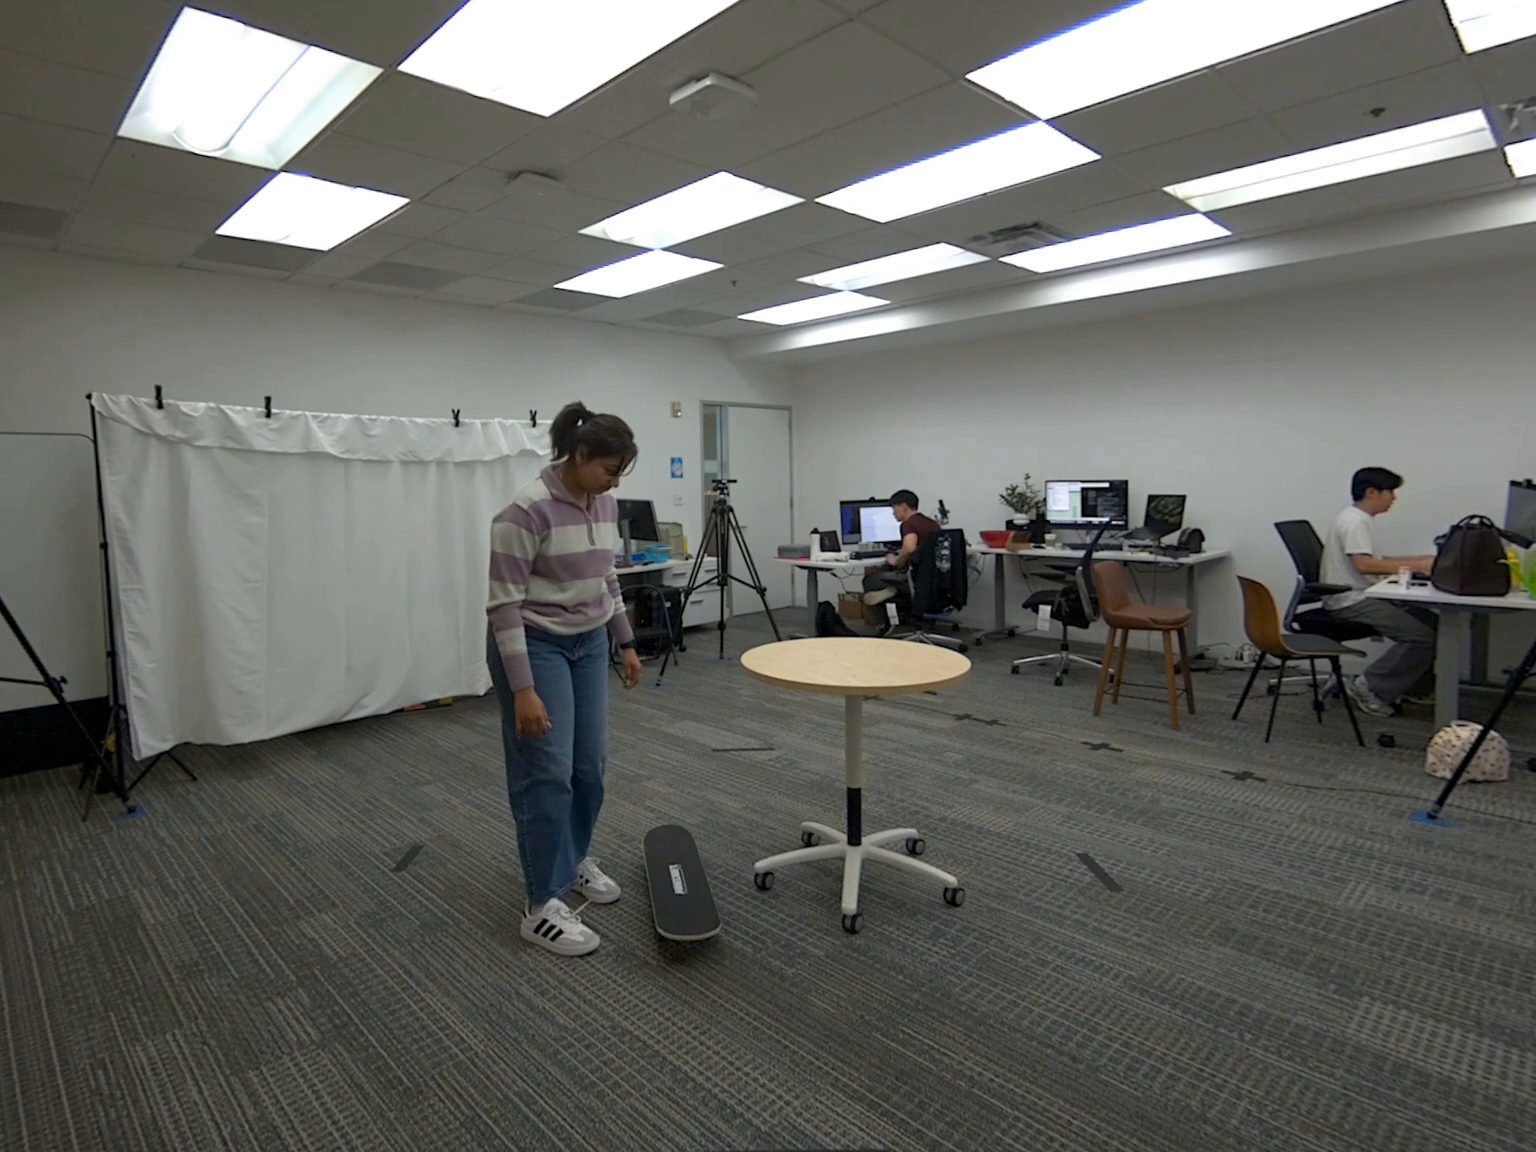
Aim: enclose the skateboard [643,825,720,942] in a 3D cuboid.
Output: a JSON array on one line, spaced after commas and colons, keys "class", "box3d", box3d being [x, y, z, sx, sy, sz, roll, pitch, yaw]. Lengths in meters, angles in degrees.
[{"class": "skateboard", "box3d": [-0.290, 1.026, 2.816, 0.191, 0.110, 0.797, -2, 7, -12]}]
